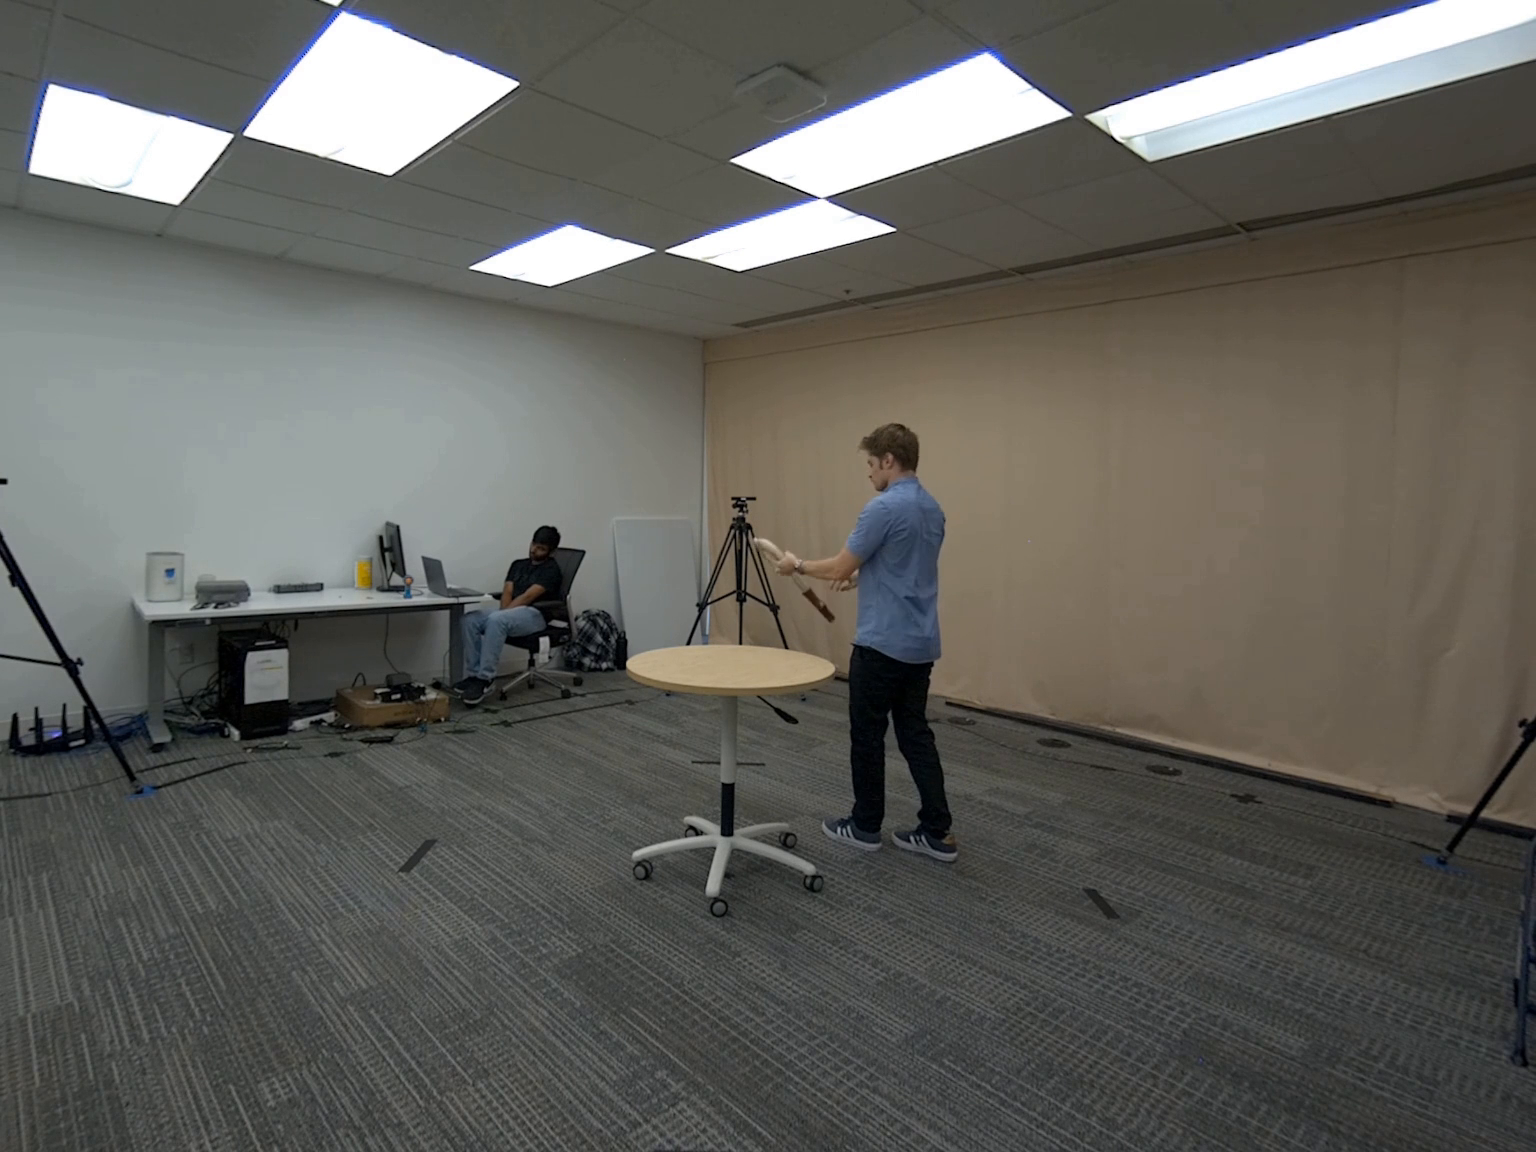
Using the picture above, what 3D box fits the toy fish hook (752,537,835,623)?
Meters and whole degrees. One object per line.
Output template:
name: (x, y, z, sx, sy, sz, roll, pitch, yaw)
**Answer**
toy fish hook: (0.115, 0.029, 3.720, 0.048, 0.498, 0.228, -43, 16, -10)
